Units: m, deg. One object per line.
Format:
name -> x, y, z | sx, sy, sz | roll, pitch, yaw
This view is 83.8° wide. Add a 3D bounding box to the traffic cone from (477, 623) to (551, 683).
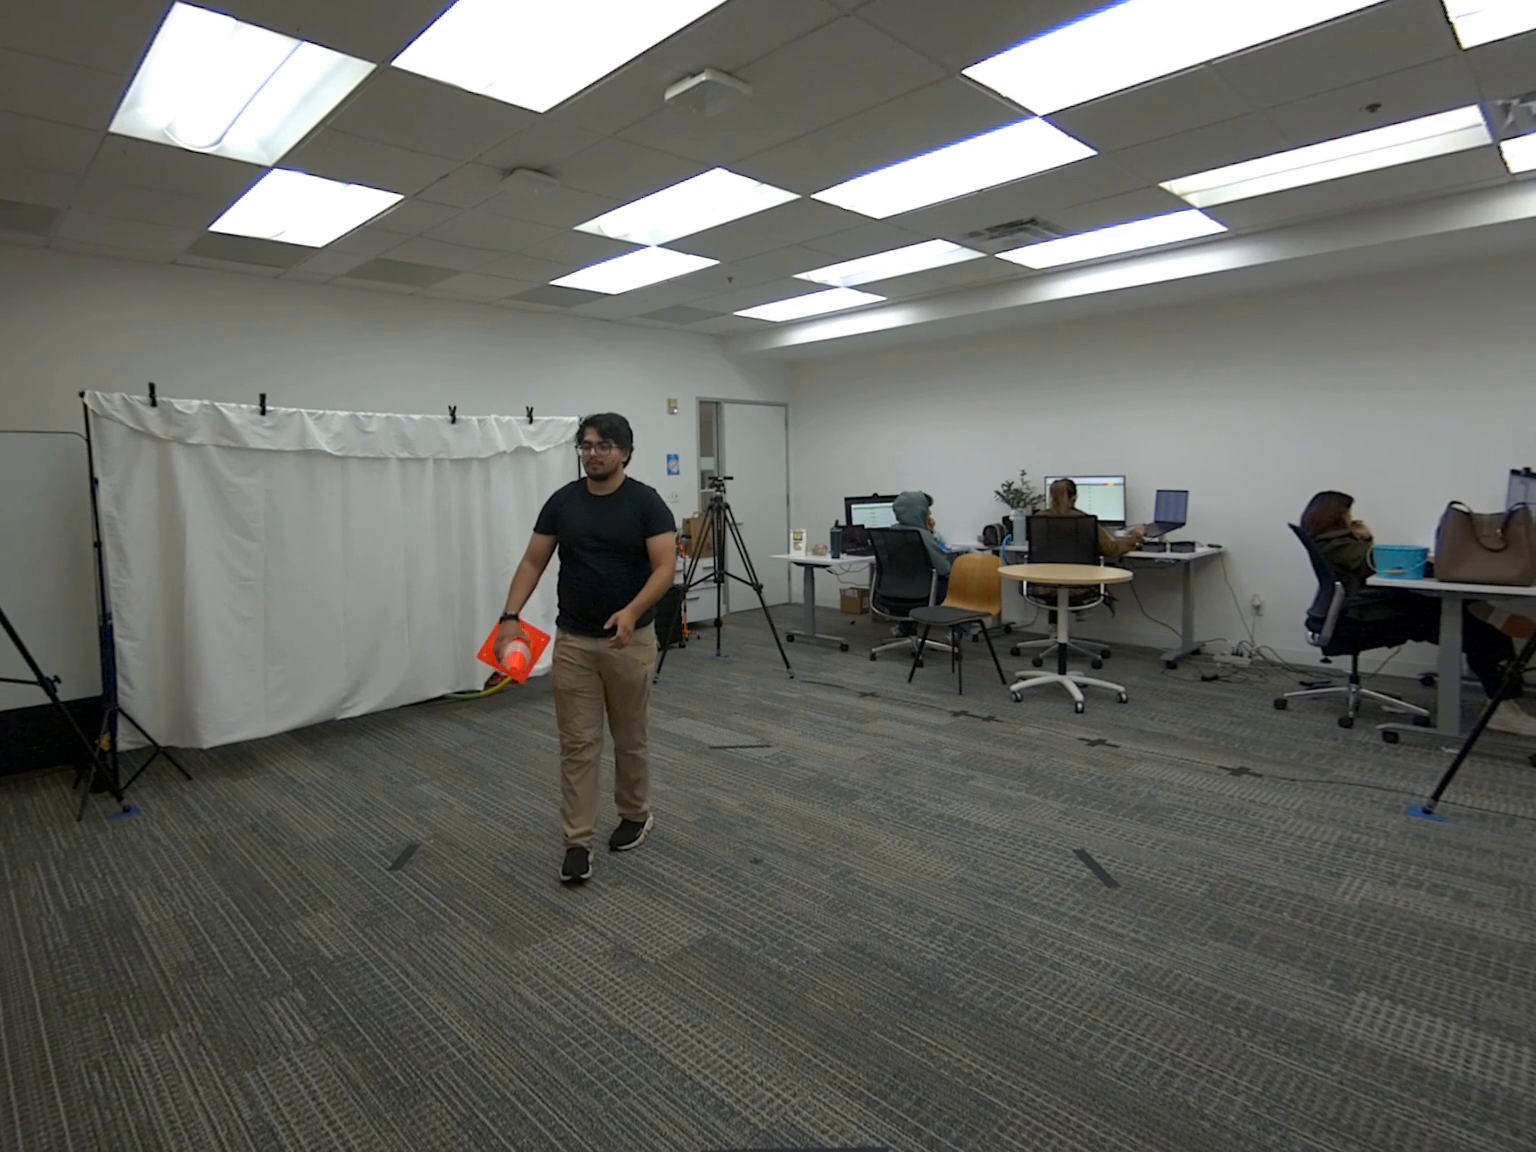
traffic cone -> -0.864, 0.277, 2.922 | 0.200, 0.205, 0.390 | 28, 0, -14
